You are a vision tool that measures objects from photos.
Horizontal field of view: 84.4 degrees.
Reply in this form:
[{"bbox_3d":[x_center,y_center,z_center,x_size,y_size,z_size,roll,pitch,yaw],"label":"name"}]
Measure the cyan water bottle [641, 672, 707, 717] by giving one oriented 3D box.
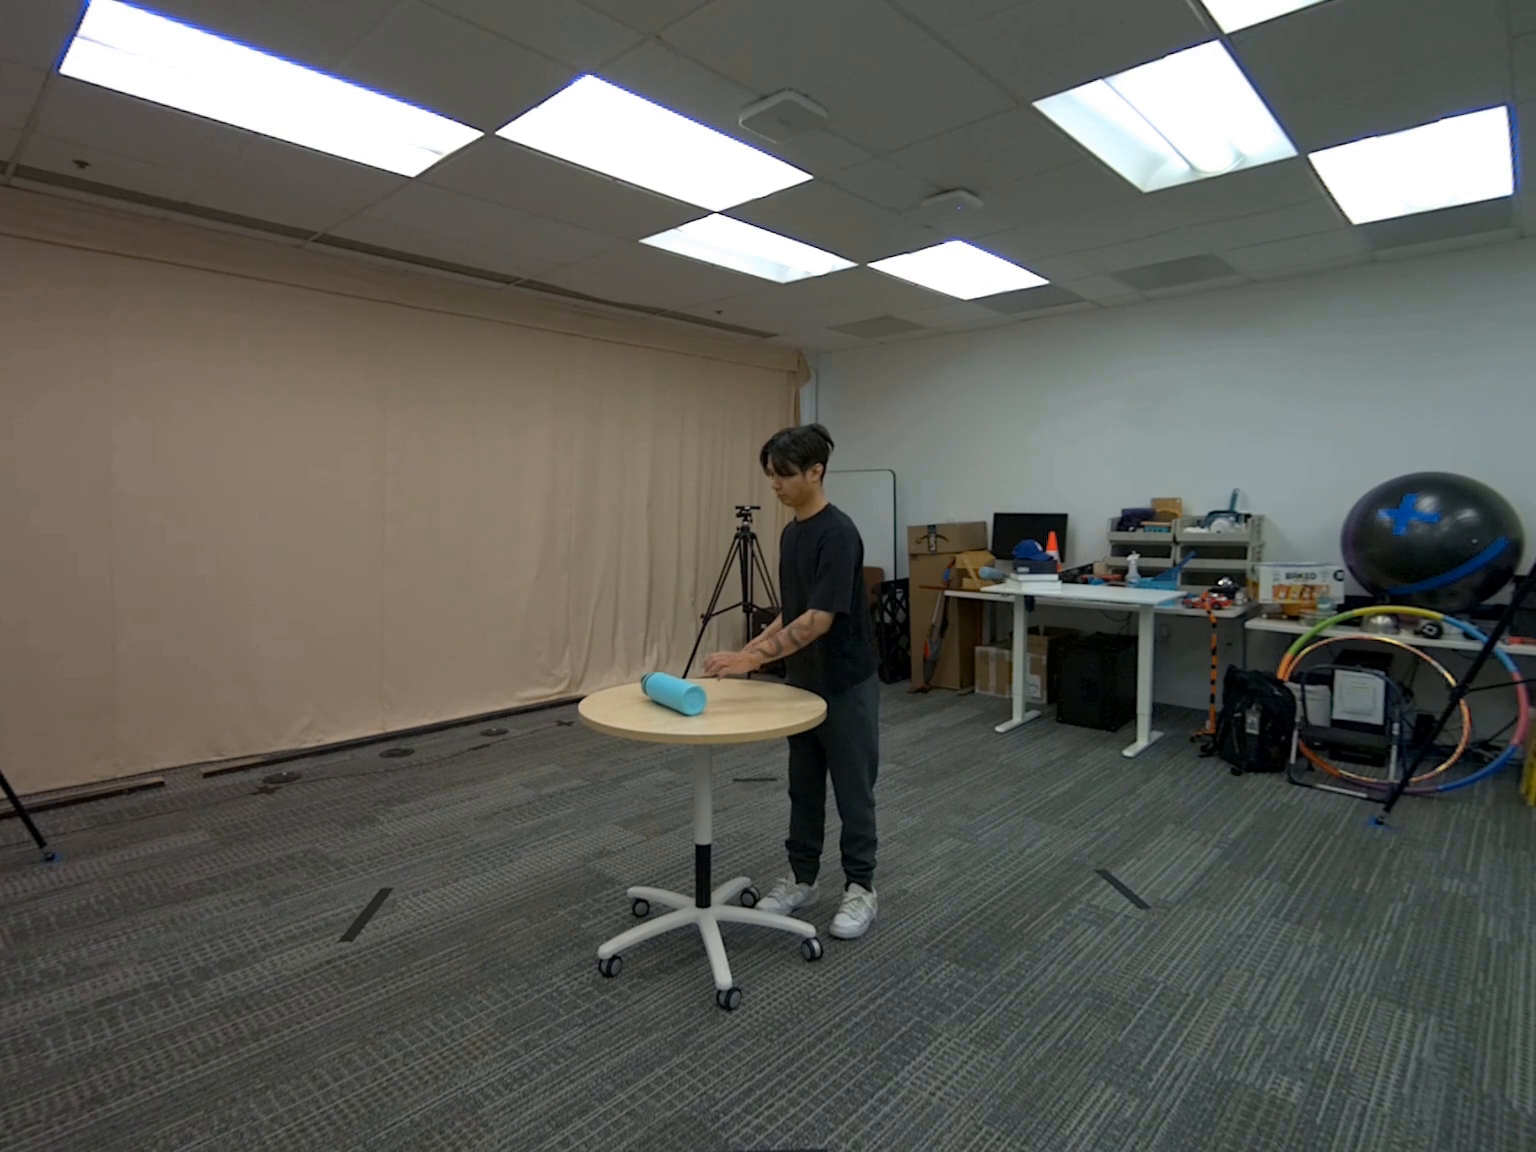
[{"bbox_3d":[-0.290,0.349,2.563,0.090,0.092,0.292,-2,5,-33],"label":"cyan water bottle"}]
